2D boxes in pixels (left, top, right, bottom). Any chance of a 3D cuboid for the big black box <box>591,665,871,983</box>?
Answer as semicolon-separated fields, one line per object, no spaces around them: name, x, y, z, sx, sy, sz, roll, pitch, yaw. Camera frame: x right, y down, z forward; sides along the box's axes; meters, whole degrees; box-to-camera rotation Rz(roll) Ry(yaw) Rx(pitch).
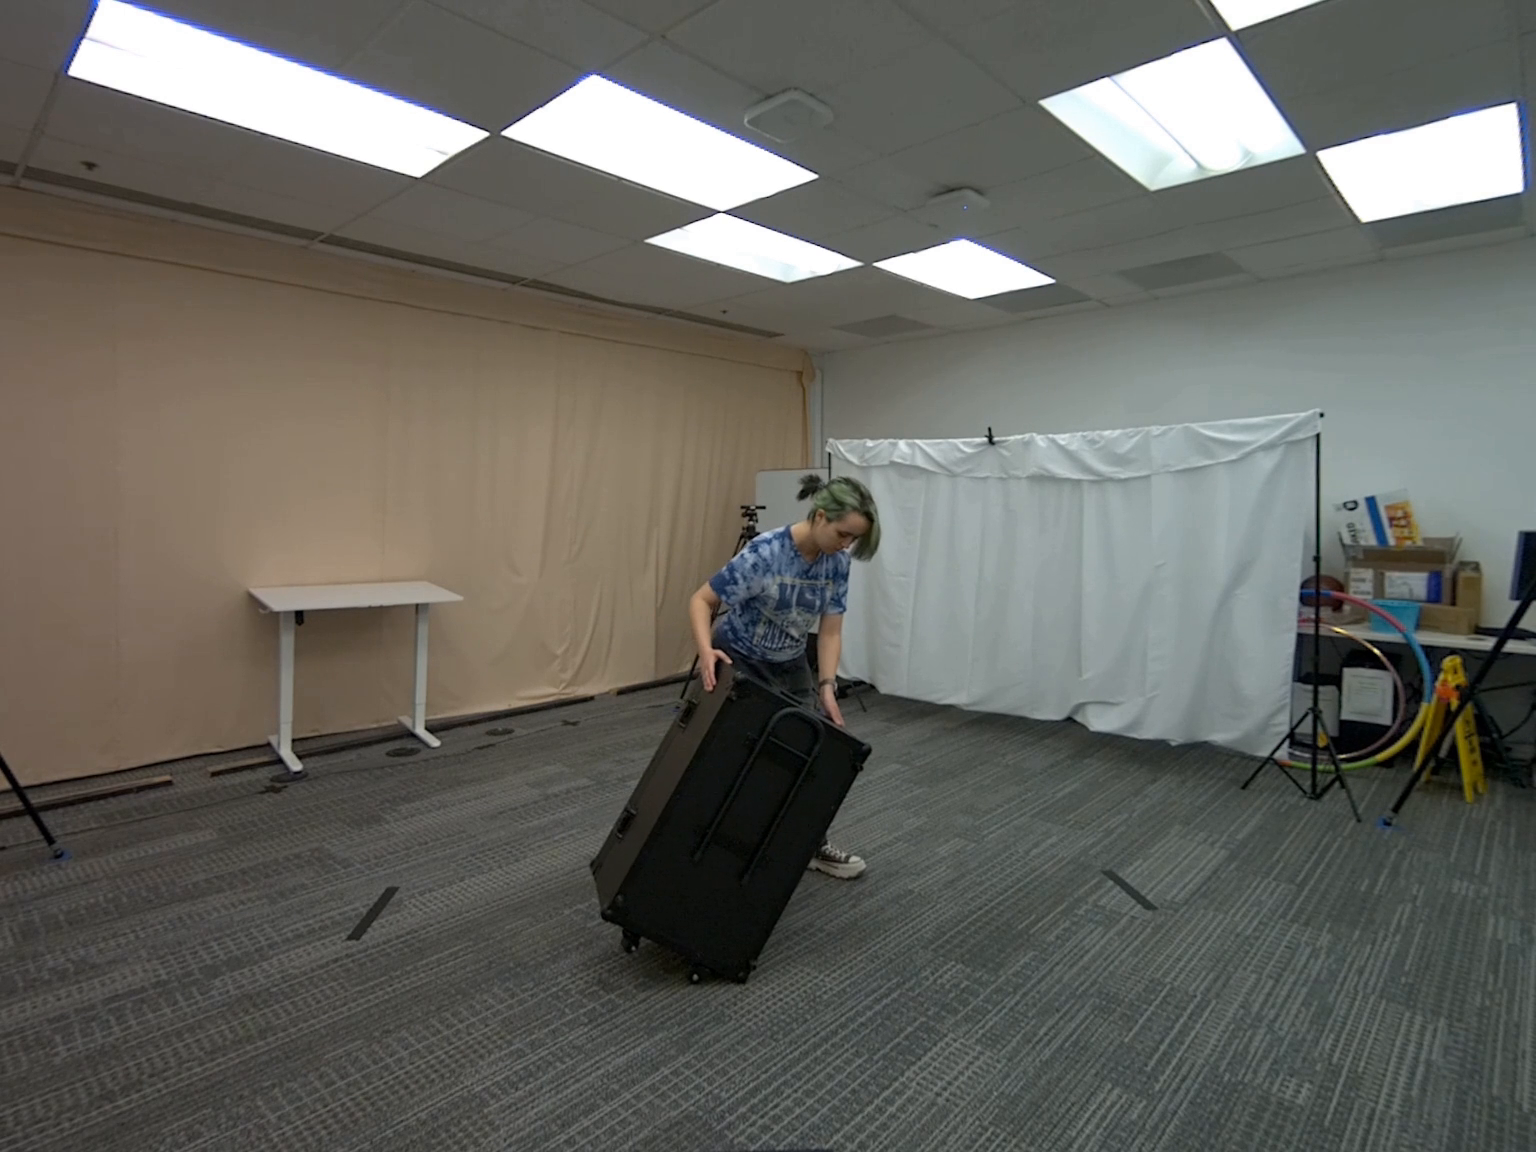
big black box;-0.131;0.748;2.584;0.512;0.861;0.403;31;-4;-15
